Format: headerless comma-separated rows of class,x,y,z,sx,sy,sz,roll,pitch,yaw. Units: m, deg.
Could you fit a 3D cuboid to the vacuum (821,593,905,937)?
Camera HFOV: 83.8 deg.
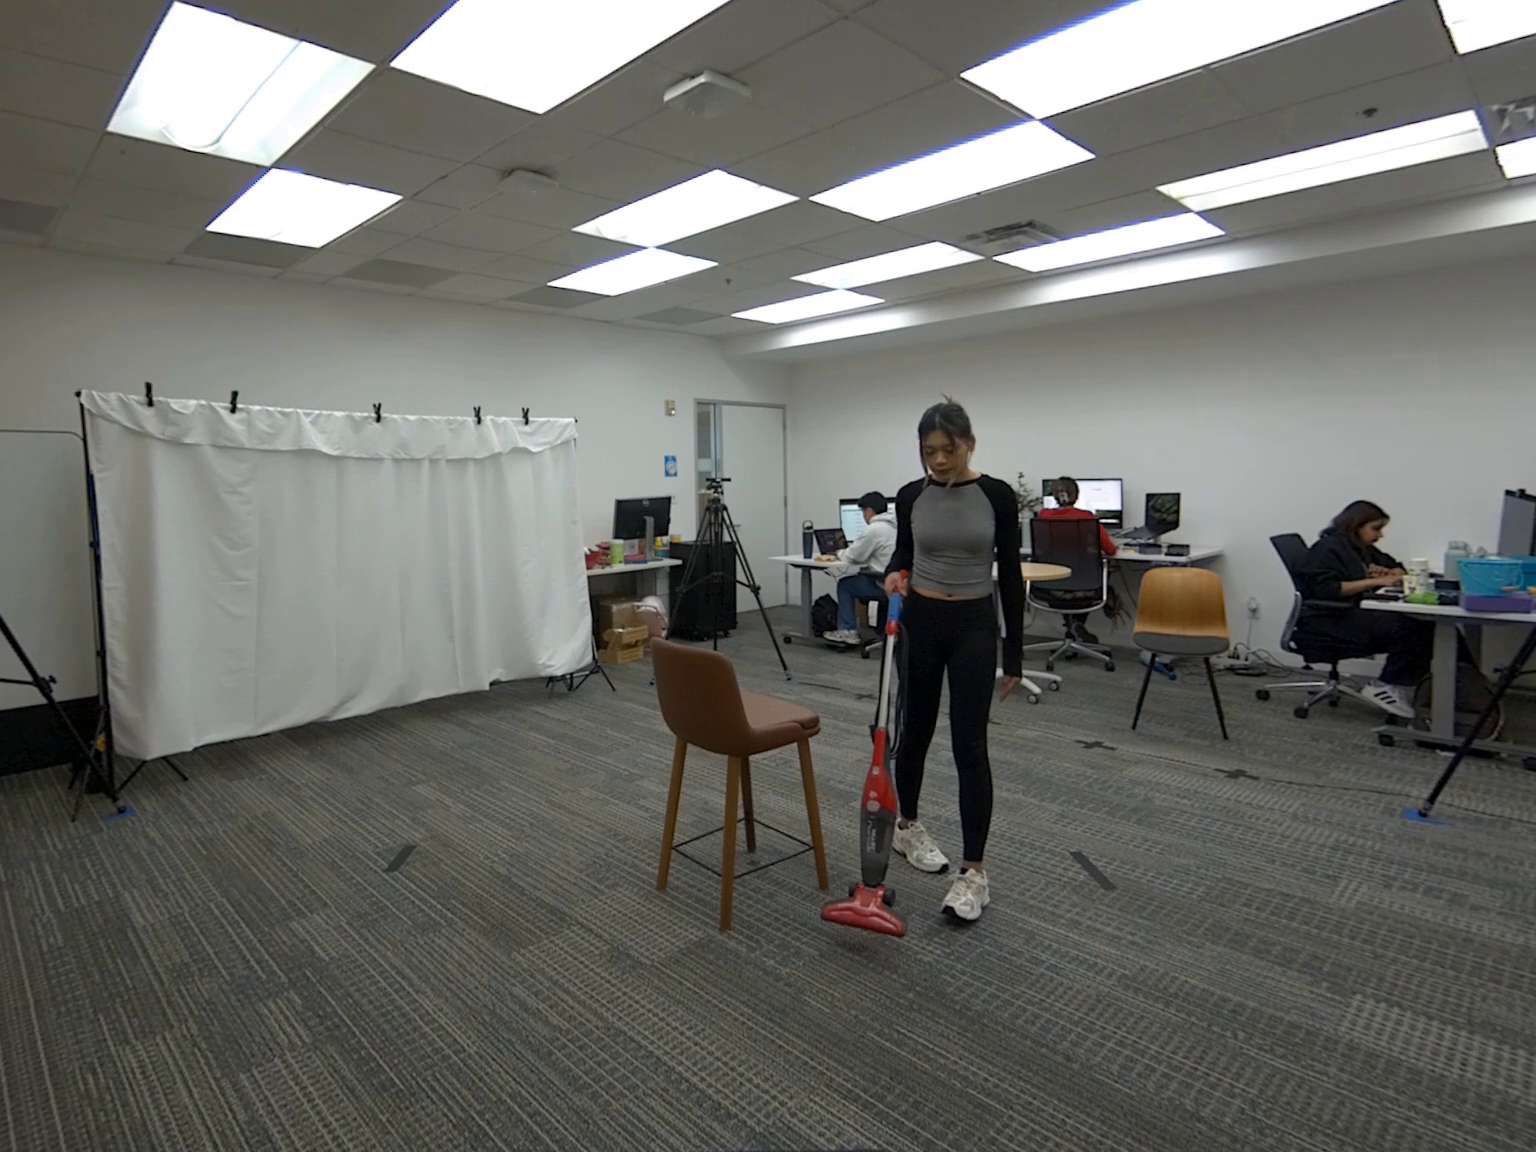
vacuum,0.369,0.506,2.681,0.258,1.064,0.139,0,-20,23
